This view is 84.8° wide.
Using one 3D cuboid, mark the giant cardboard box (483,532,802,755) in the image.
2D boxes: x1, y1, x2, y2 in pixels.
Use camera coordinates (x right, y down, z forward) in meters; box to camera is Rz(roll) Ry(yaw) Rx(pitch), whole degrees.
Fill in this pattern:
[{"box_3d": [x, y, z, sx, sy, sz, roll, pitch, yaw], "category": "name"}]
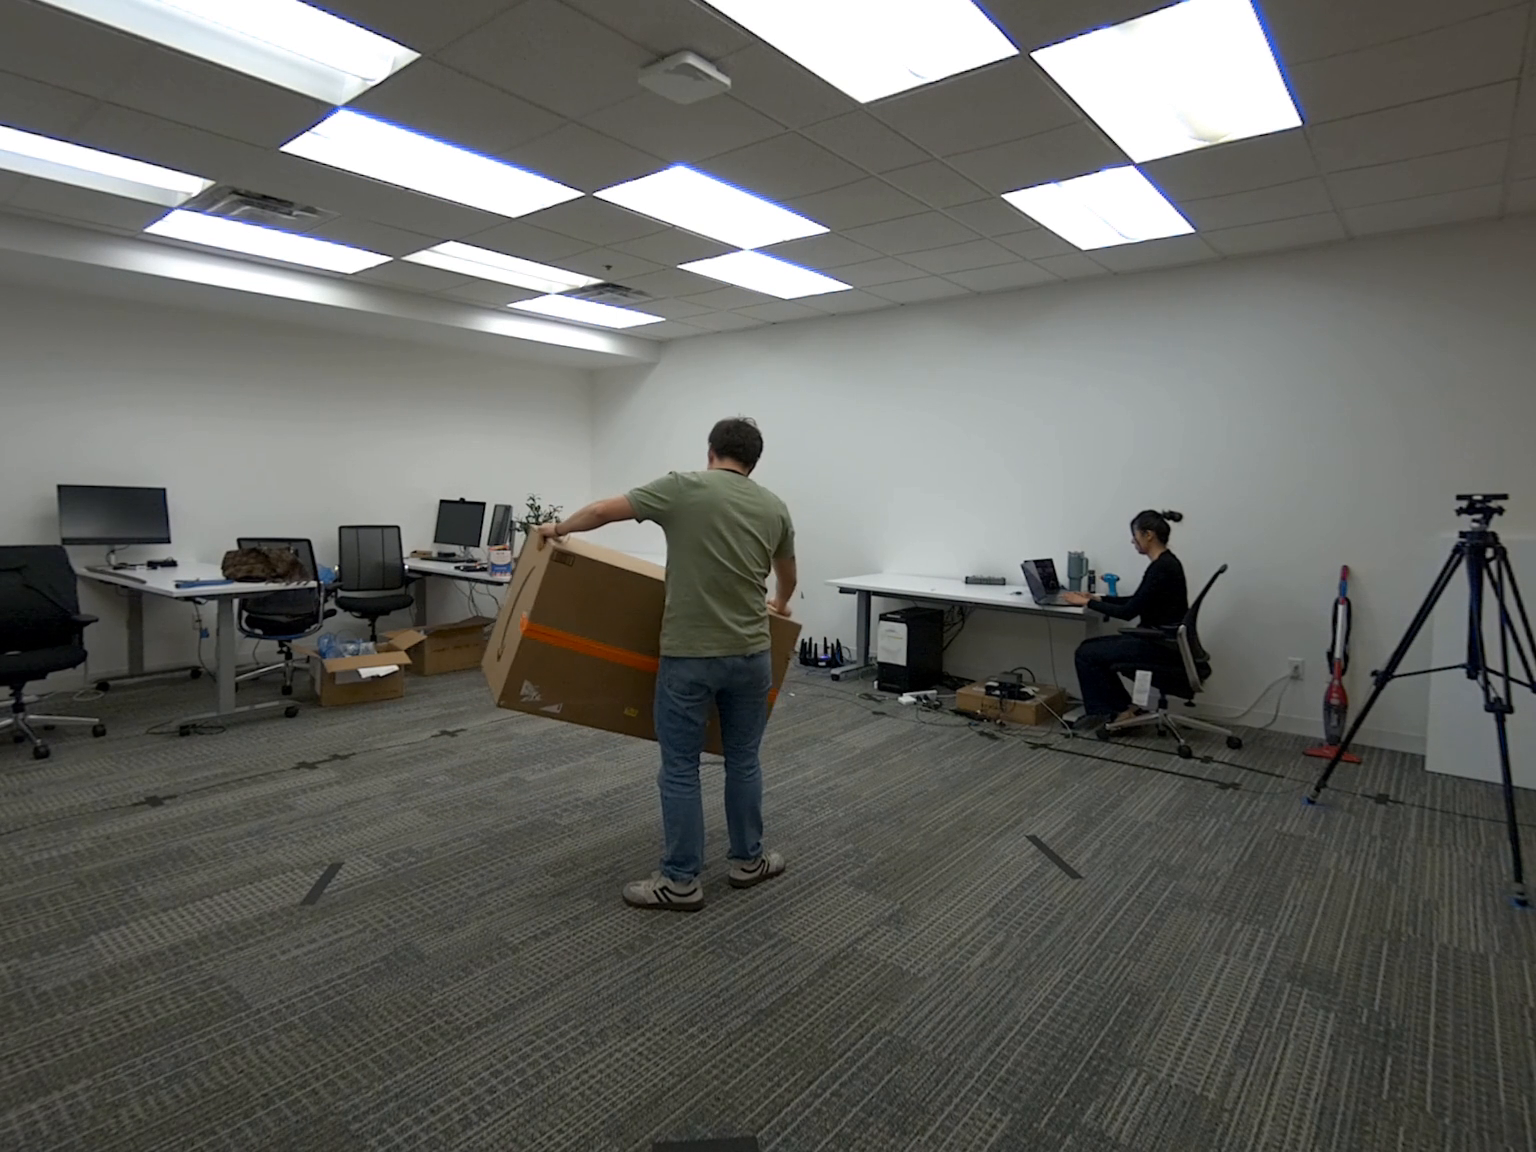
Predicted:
[{"box_3d": [-0.482, 0.264, 3.227, 0.995, 0.576, 0.440, 19, 4, -26], "category": "giant cardboard box"}]
